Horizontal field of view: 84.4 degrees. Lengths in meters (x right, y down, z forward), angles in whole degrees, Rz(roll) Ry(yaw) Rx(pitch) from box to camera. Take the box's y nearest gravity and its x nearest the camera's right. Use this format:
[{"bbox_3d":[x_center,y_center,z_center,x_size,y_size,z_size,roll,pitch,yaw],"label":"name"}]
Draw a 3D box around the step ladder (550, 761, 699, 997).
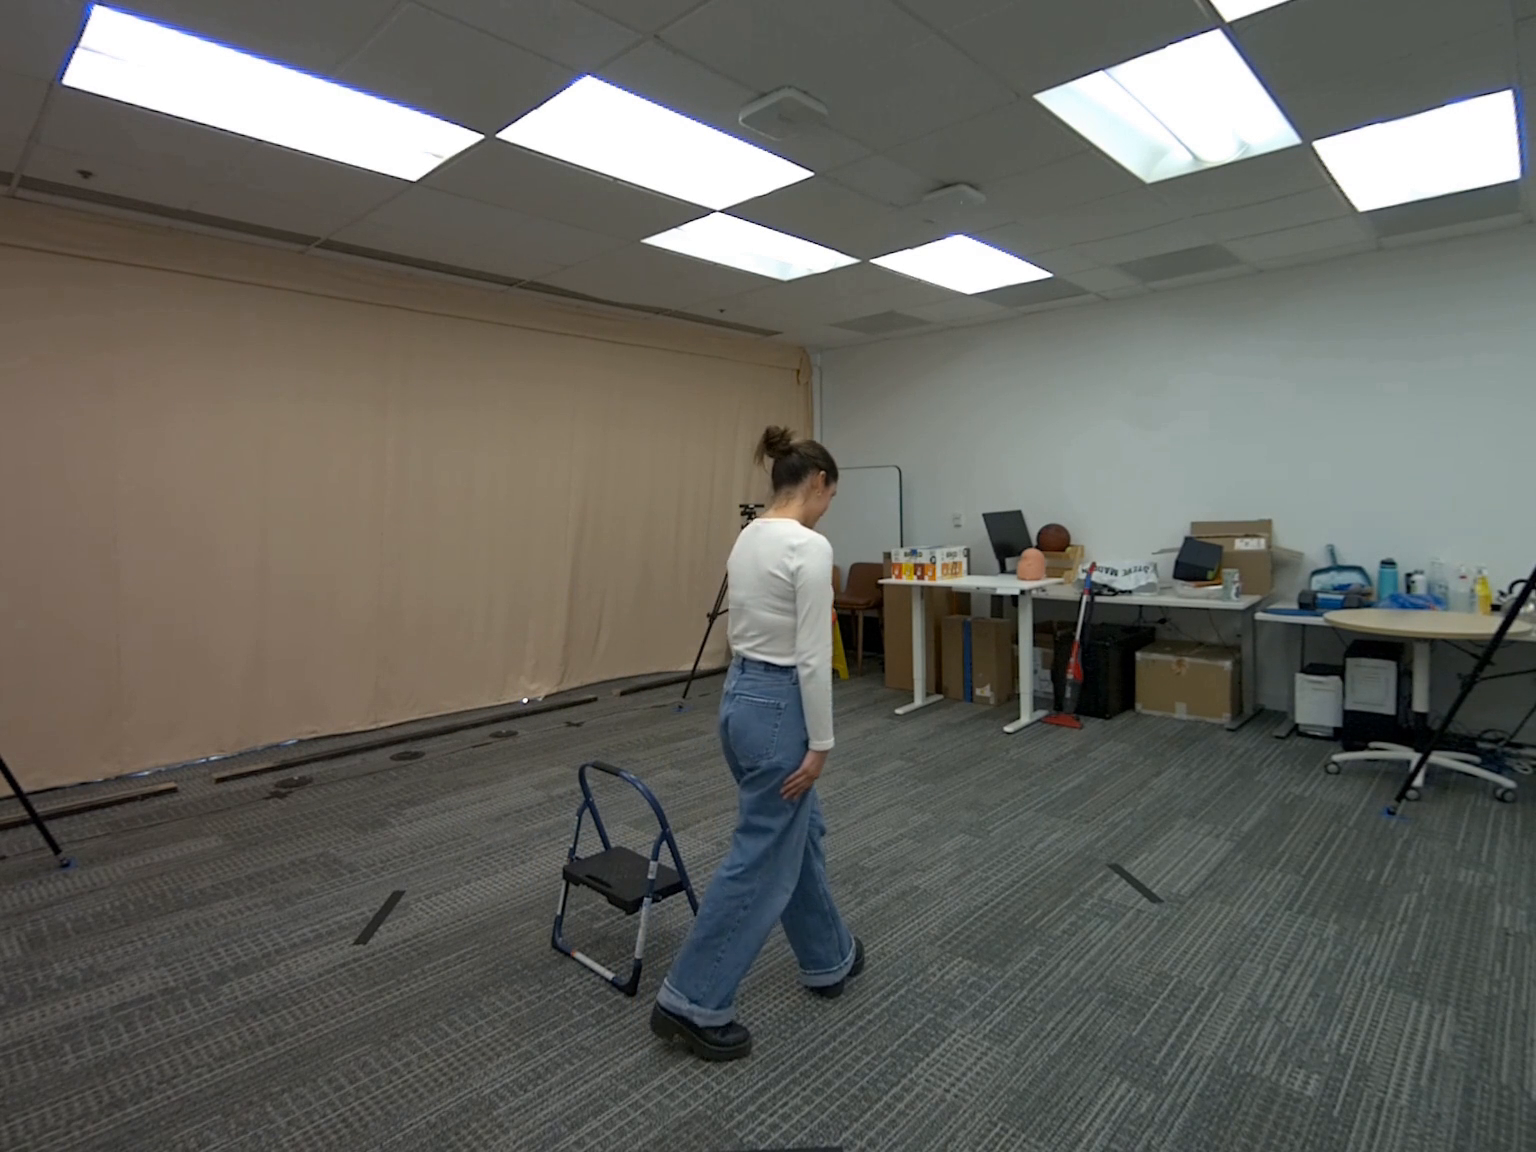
[{"bbox_3d":[-0.431,0.876,2.638,0.445,0.605,0.339,2,4,43],"label":"step ladder"}]
